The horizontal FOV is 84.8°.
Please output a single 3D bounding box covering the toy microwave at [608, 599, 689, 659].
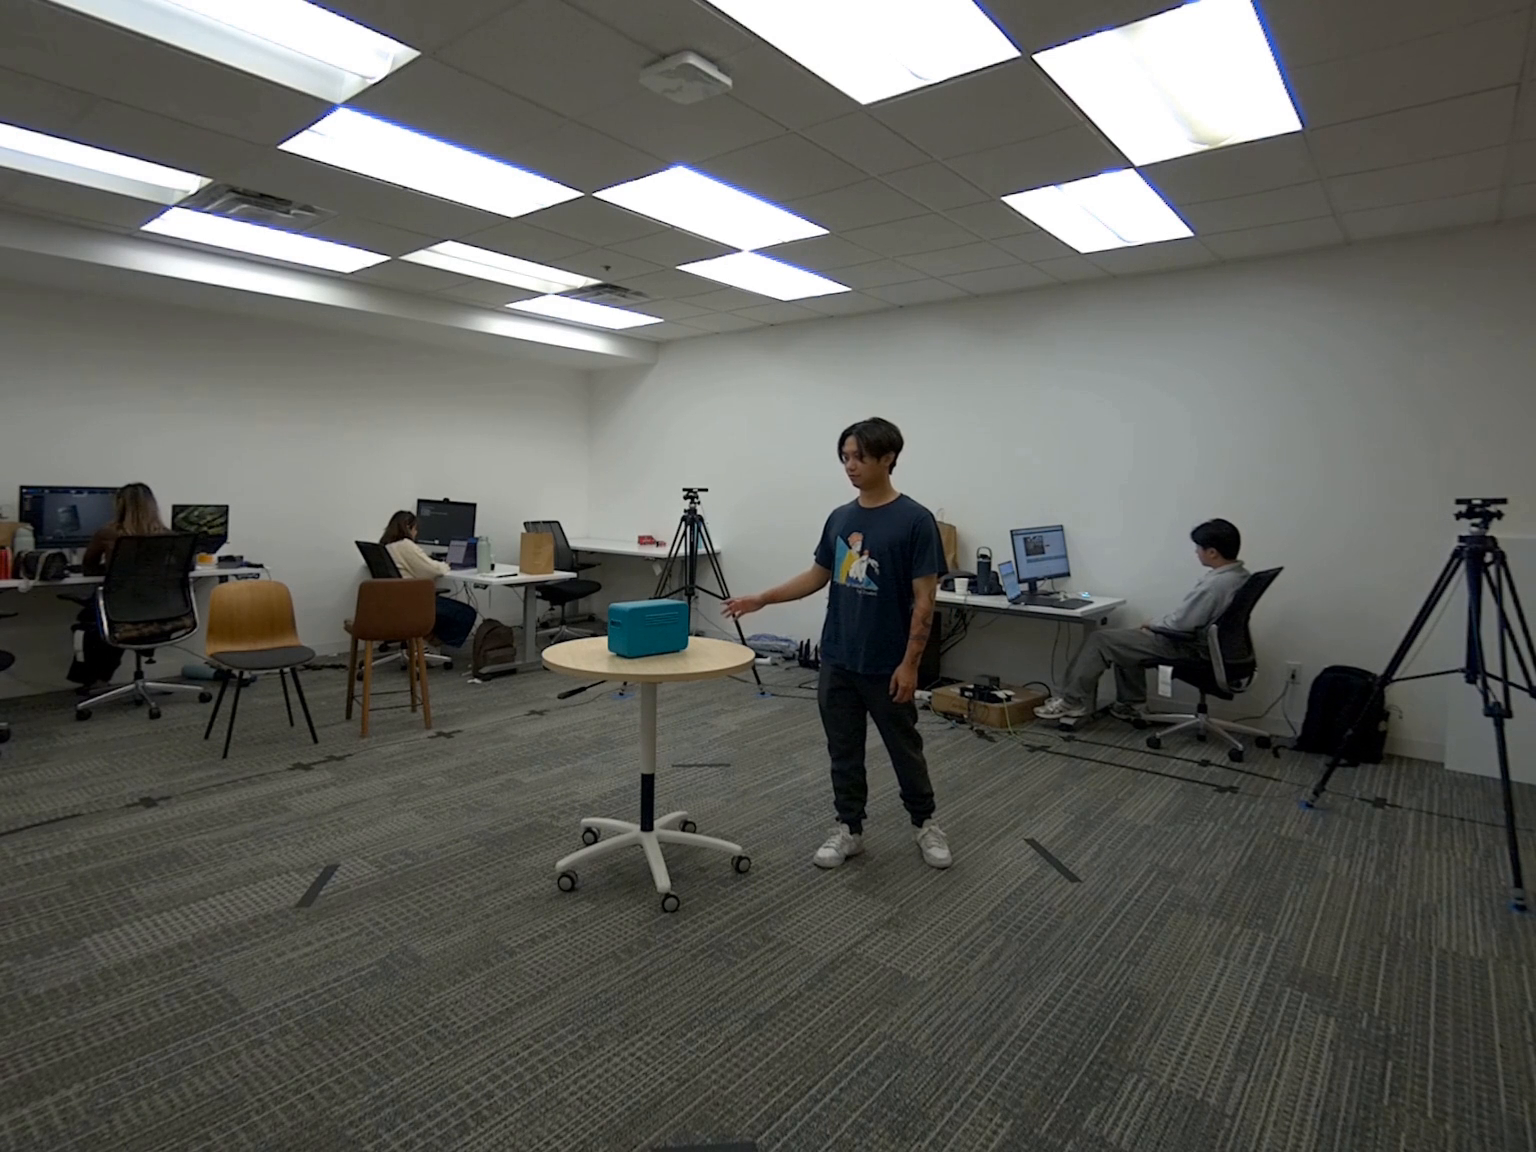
[{"bbox_3d":[-0.448,0.182,3.069,0.277,0.183,0.157,-3,5,-42],"label":"toy microwave"}]
